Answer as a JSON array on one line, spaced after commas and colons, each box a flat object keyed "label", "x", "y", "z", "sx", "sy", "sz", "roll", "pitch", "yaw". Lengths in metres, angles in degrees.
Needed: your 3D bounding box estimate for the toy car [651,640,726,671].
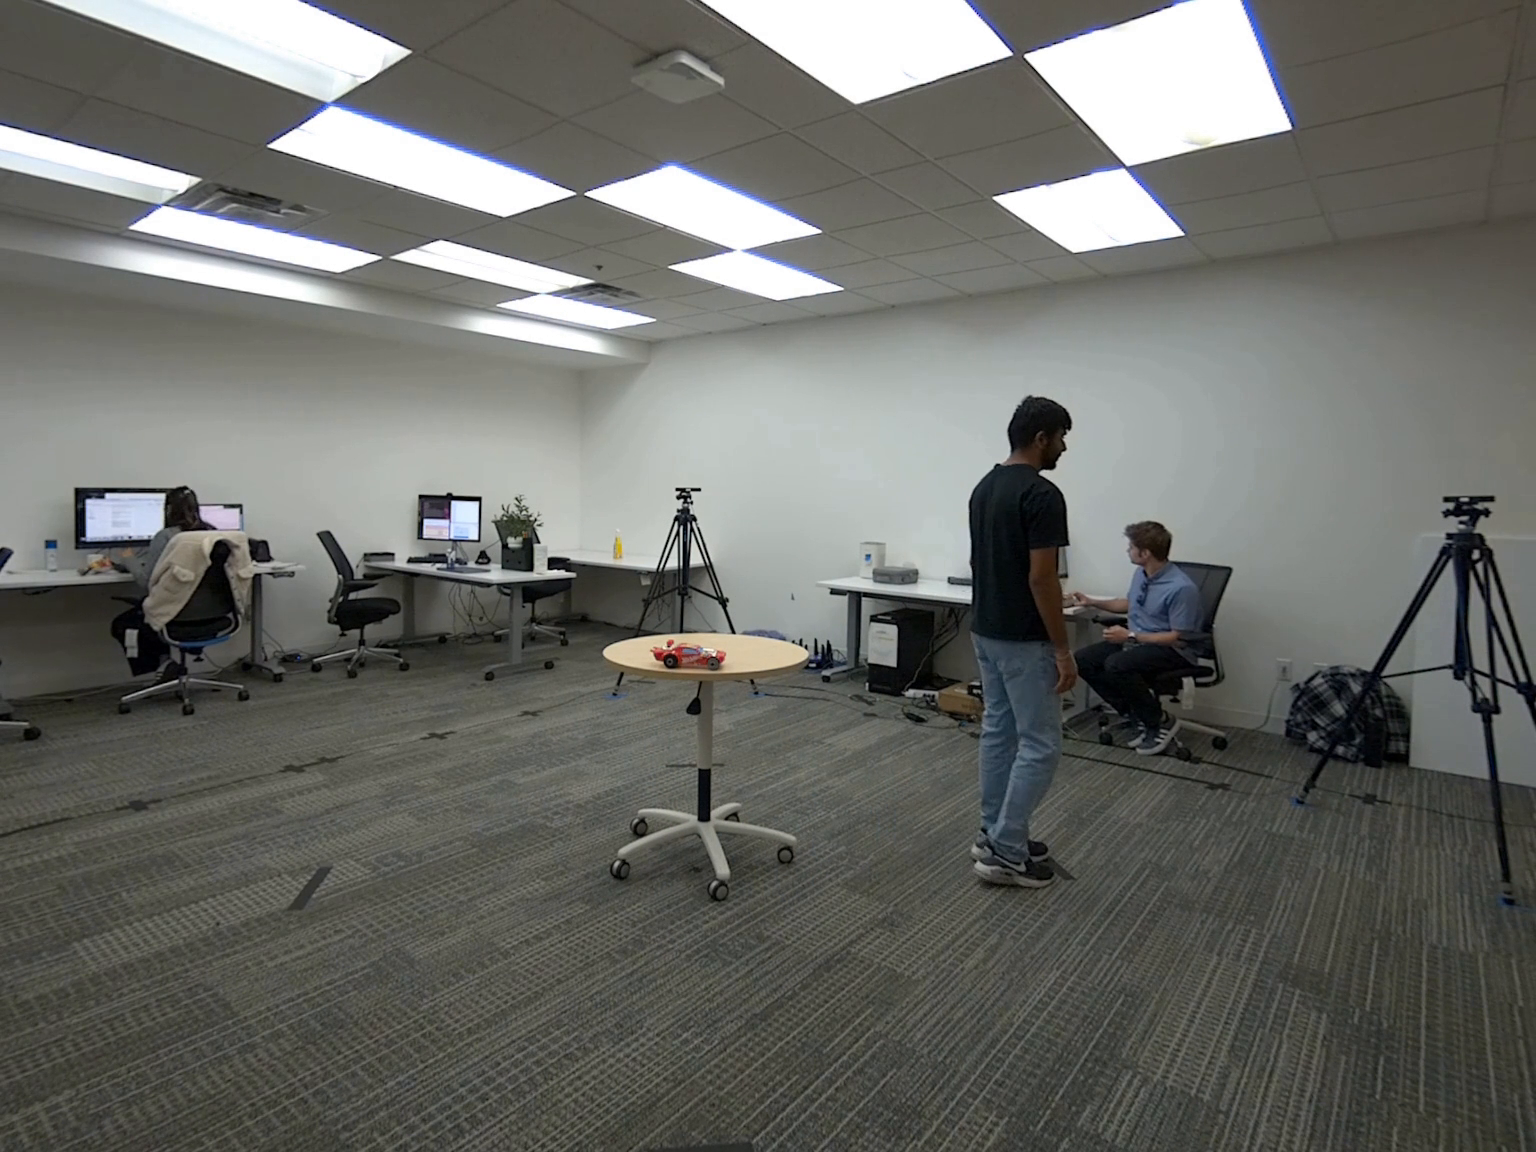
[{"label": "toy car", "x": -0.287, "y": 0.271, "z": 2.911, "sx": 0.257, "sy": 0.083, "sz": 0.130, "roll": 12, "pitch": 7, "yaw": 6}]
